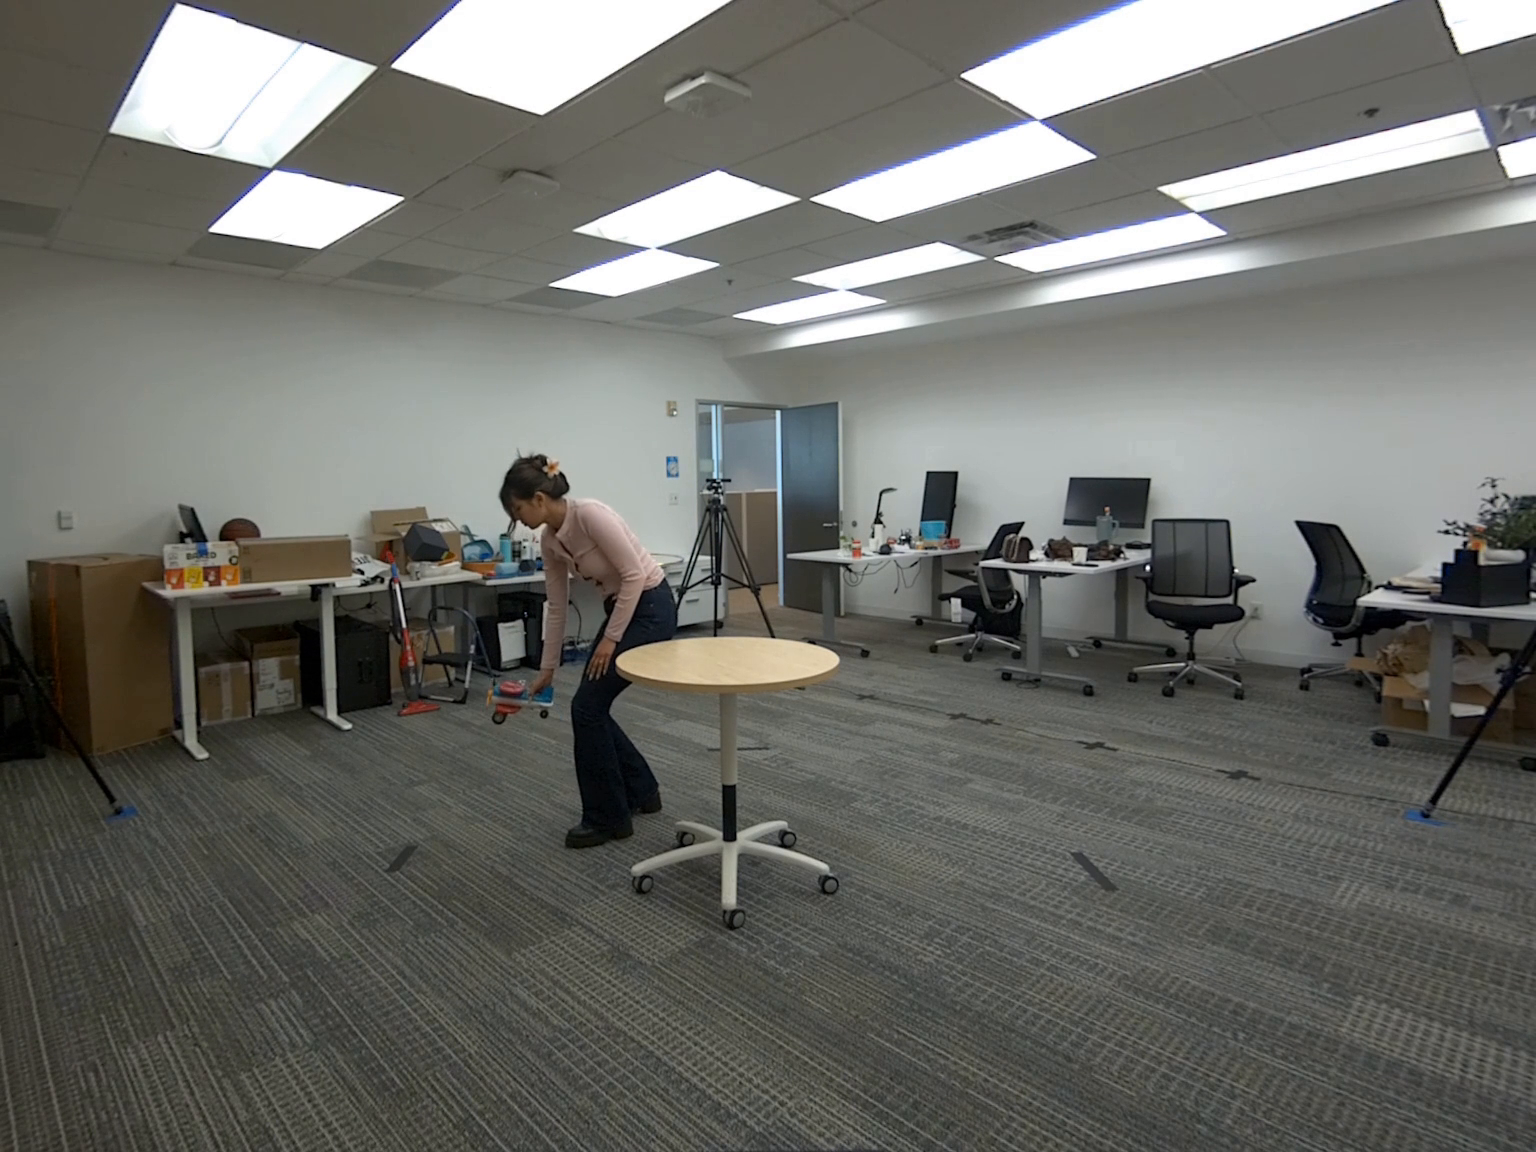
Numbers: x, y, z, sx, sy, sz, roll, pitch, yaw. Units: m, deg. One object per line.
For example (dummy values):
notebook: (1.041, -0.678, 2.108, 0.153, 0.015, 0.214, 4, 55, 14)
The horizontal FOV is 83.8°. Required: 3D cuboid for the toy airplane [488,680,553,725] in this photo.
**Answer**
toy airplane: (-1.008, 0.506, 3.466, 0.252, 0.156, 0.257, -5, 0, -38)
